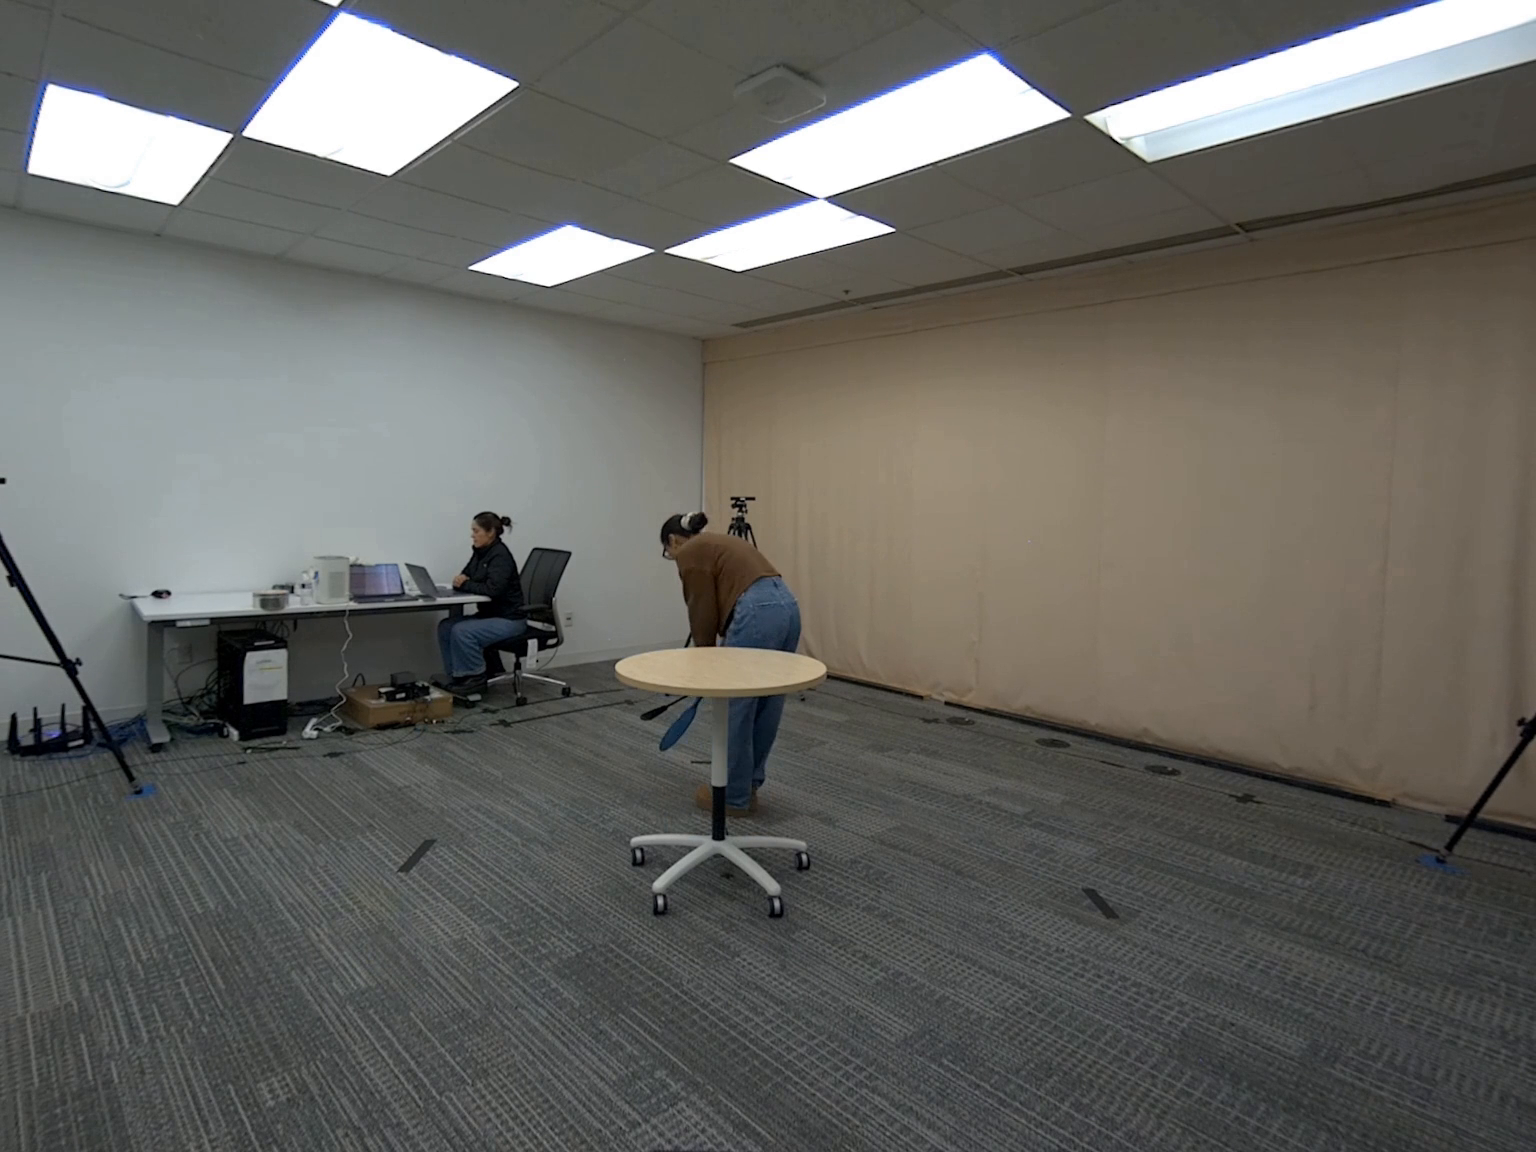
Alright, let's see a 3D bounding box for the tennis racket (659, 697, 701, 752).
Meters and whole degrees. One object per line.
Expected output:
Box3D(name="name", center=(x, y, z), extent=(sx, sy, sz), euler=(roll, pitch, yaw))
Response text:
Box3D(name="tennis racket", center=(-0.393, 0.652, 3.946), extent=(0.032, 0.432, 0.209), euler=(38, 10, 19))
